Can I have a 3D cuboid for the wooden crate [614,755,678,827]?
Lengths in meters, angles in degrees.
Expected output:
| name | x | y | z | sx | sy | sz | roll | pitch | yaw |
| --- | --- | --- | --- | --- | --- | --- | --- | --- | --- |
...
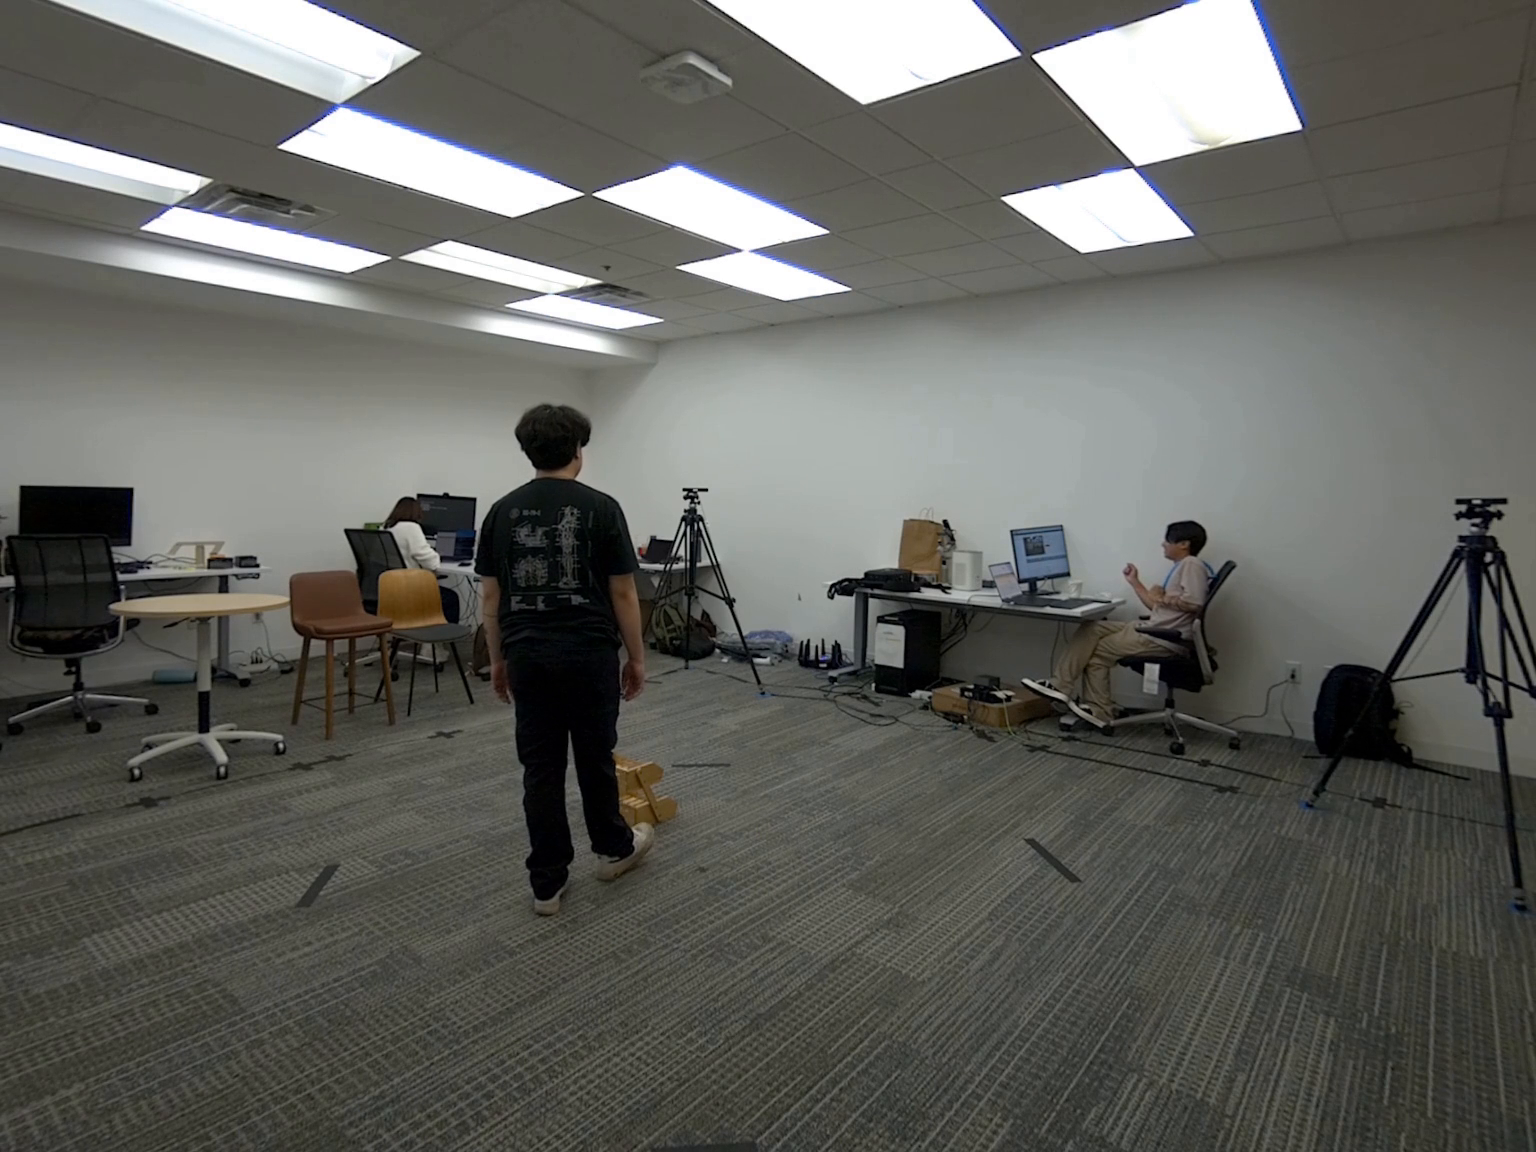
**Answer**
| name | x | y | z | sx | sy | sz | roll | pitch | yaw |
| --- | --- | --- | --- | --- | --- | --- | --- | --- | --- |
| wooden crate | -0.604 | 0.882 | 3.617 | 0.335 | 0.272 | 0.293 | 4 | 6 | 39 |
